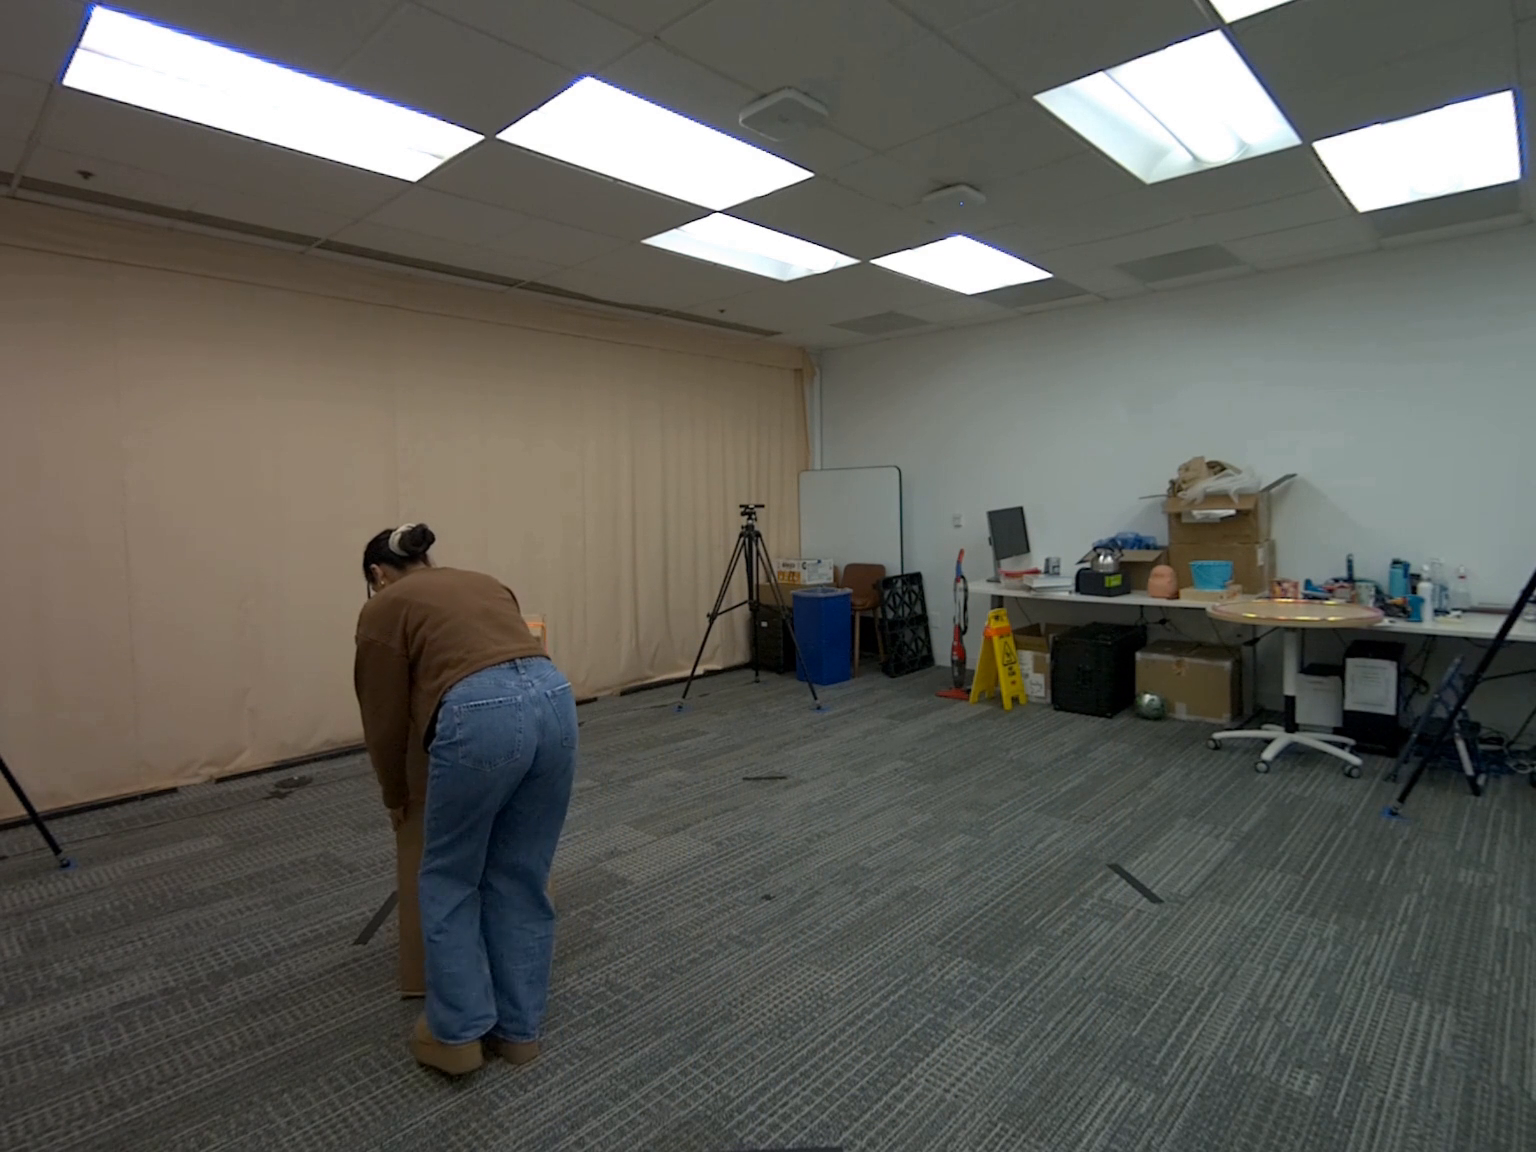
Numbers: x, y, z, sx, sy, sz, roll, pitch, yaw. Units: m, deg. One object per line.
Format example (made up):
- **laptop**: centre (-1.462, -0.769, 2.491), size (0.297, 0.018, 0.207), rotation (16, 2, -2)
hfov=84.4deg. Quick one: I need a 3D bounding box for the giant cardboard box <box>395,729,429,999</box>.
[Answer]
- **giant cardboard box**: centre (-0.925, 0.675, 2.698), size (0.421, 1.025, 0.586), rotation (-1, 2, -13)
